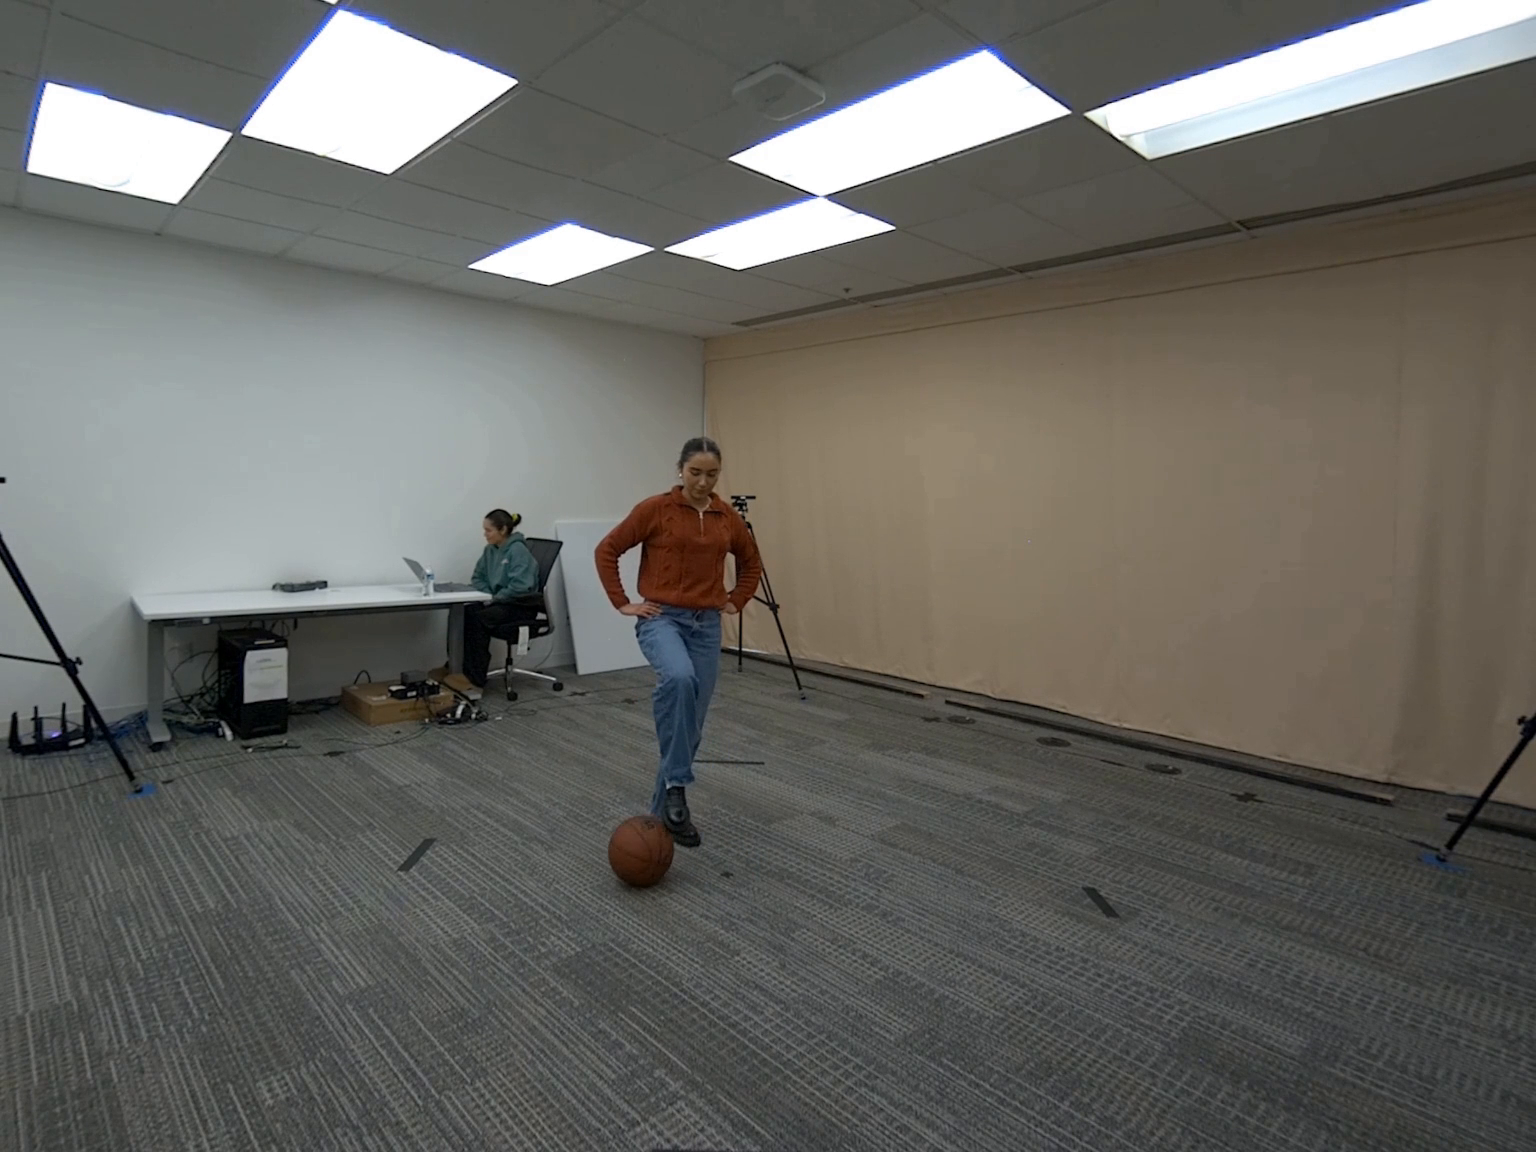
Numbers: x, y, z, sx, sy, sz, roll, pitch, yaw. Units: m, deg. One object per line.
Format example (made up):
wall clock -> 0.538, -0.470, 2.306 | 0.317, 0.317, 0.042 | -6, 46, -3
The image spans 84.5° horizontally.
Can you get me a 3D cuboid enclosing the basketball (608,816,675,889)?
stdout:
basketball -> -0.459, 0.987, 3.019 | 0.236, 0.235, 0.237 | 1, 4, -1
